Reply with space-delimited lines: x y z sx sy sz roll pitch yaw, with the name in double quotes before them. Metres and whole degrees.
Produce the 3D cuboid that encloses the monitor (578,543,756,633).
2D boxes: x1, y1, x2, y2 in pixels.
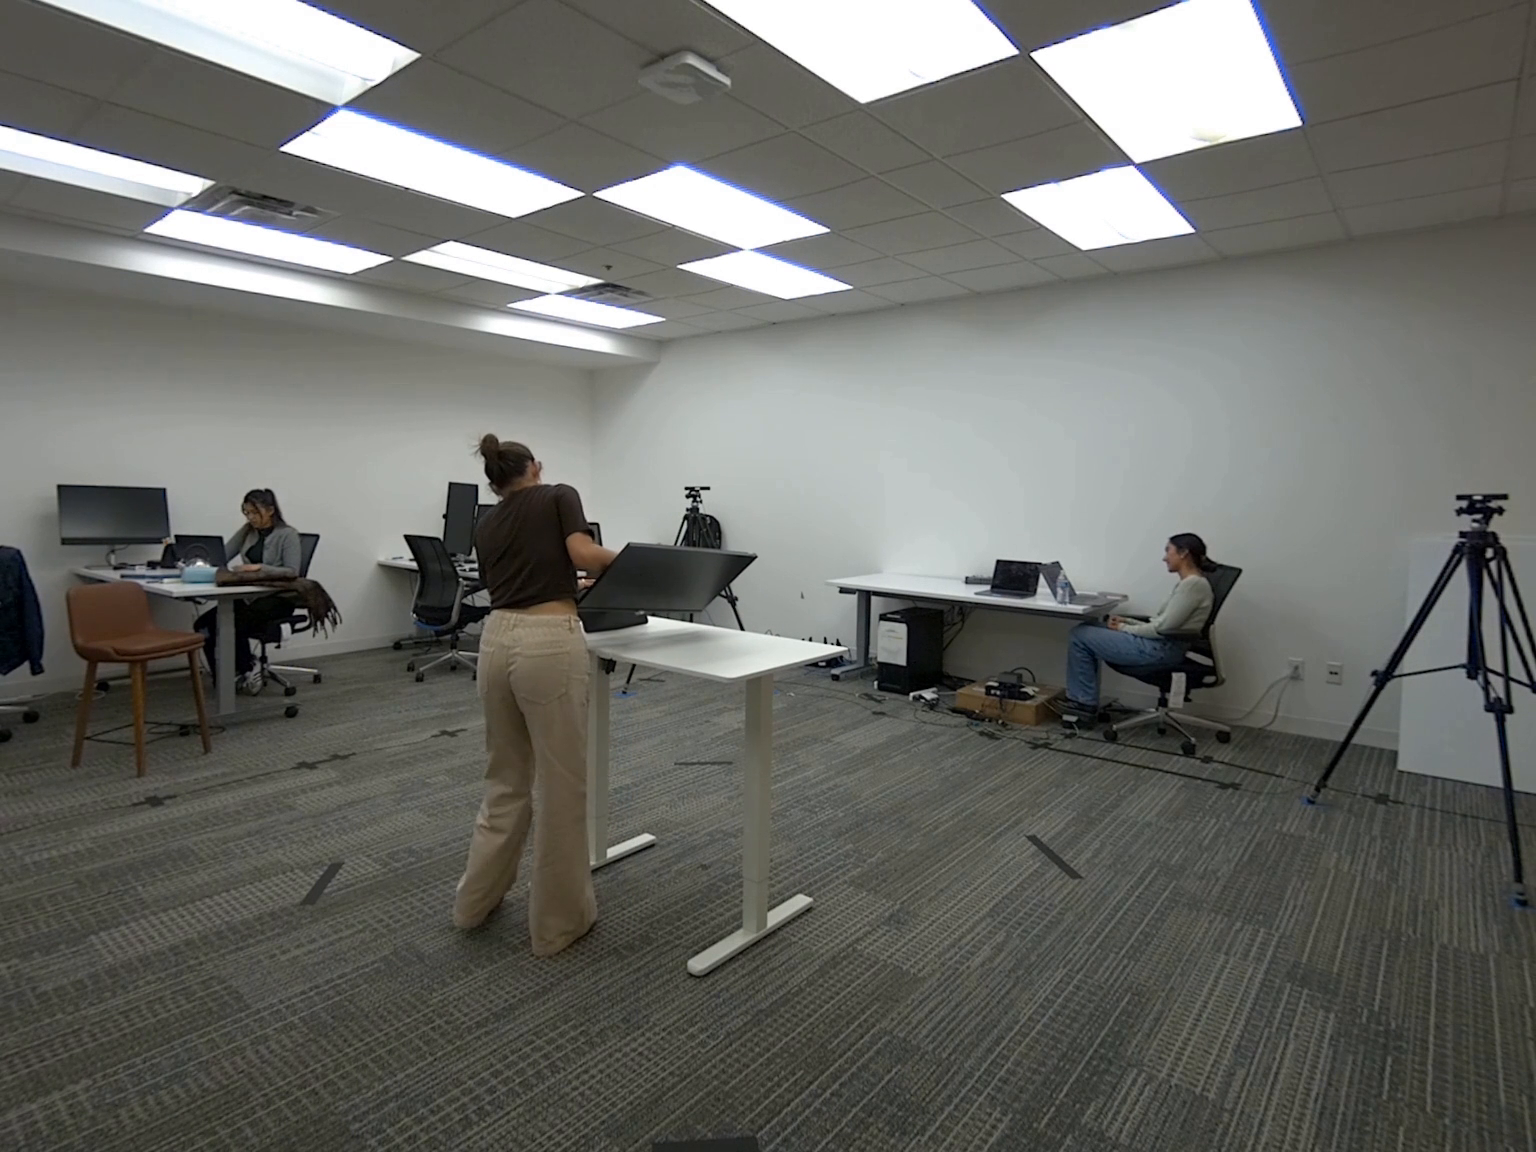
"monitor" -0.406 0.019 2.859 0.522 0.191 0.529 -2 -20 -43
